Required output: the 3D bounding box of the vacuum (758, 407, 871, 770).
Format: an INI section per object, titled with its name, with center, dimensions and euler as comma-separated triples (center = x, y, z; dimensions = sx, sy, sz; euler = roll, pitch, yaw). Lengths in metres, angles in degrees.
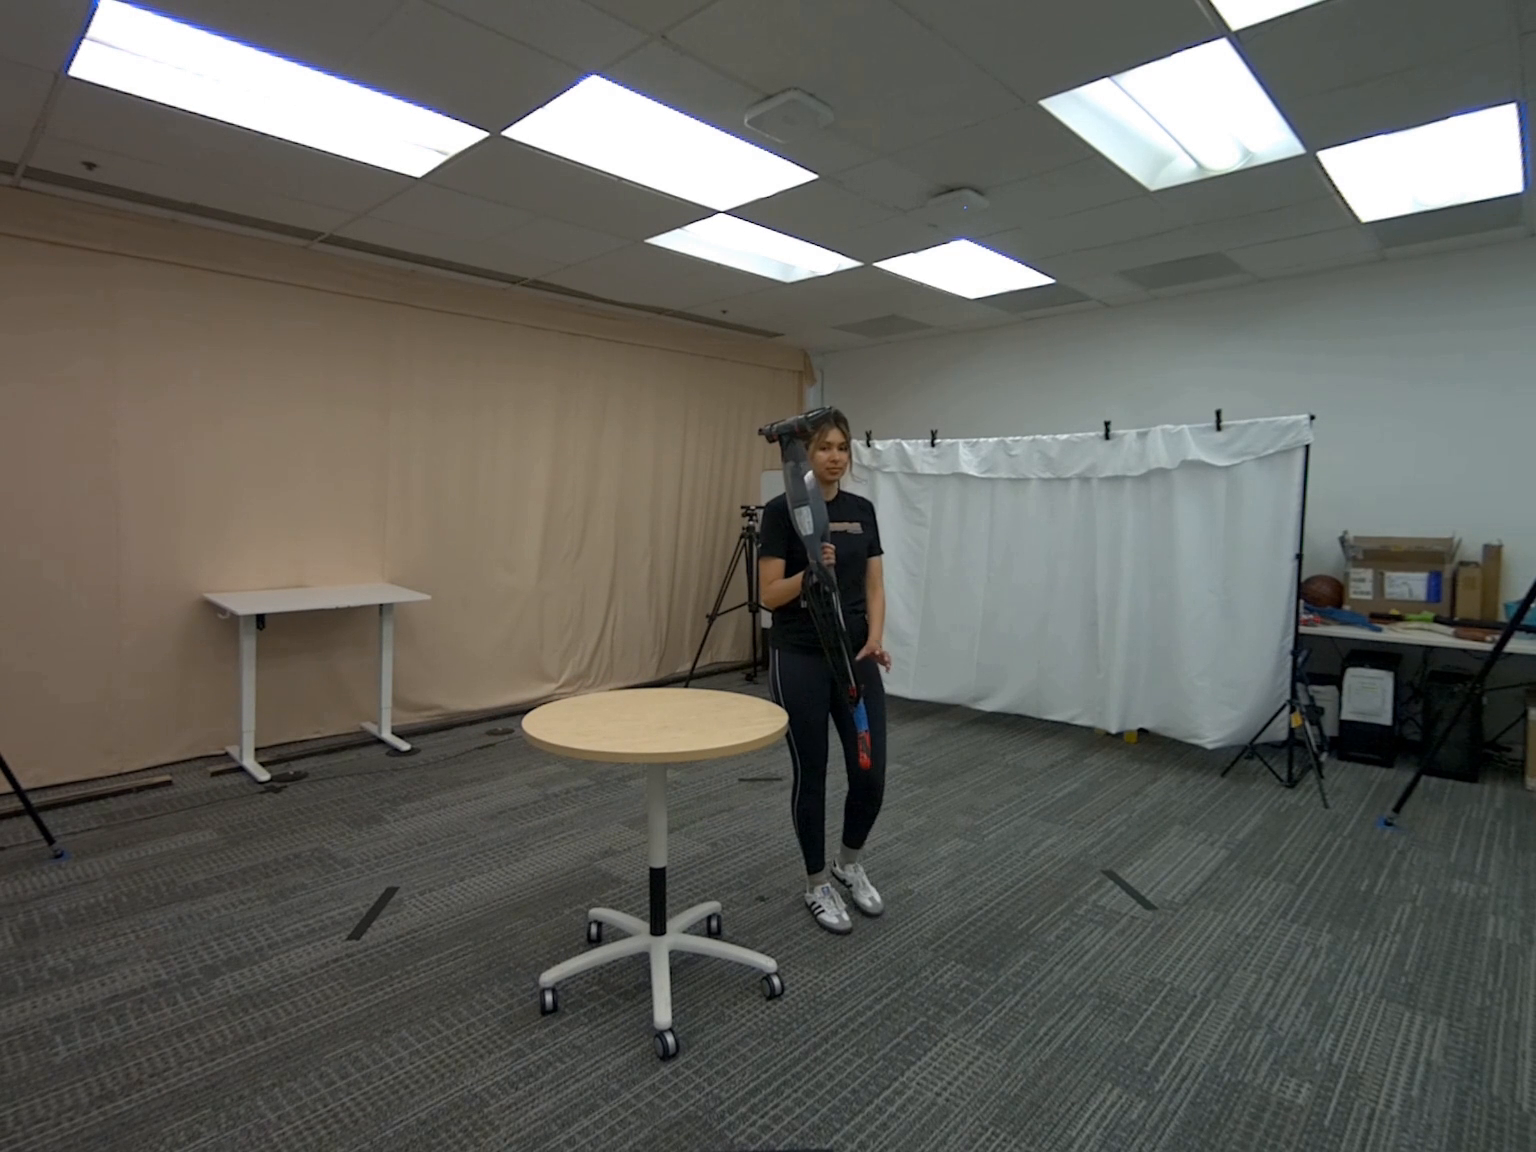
[vacuum]
center = 0.184, 0.043, 2.501
dimensions = 0.258, 1.053, 0.140
euler = -13, -5, 30
